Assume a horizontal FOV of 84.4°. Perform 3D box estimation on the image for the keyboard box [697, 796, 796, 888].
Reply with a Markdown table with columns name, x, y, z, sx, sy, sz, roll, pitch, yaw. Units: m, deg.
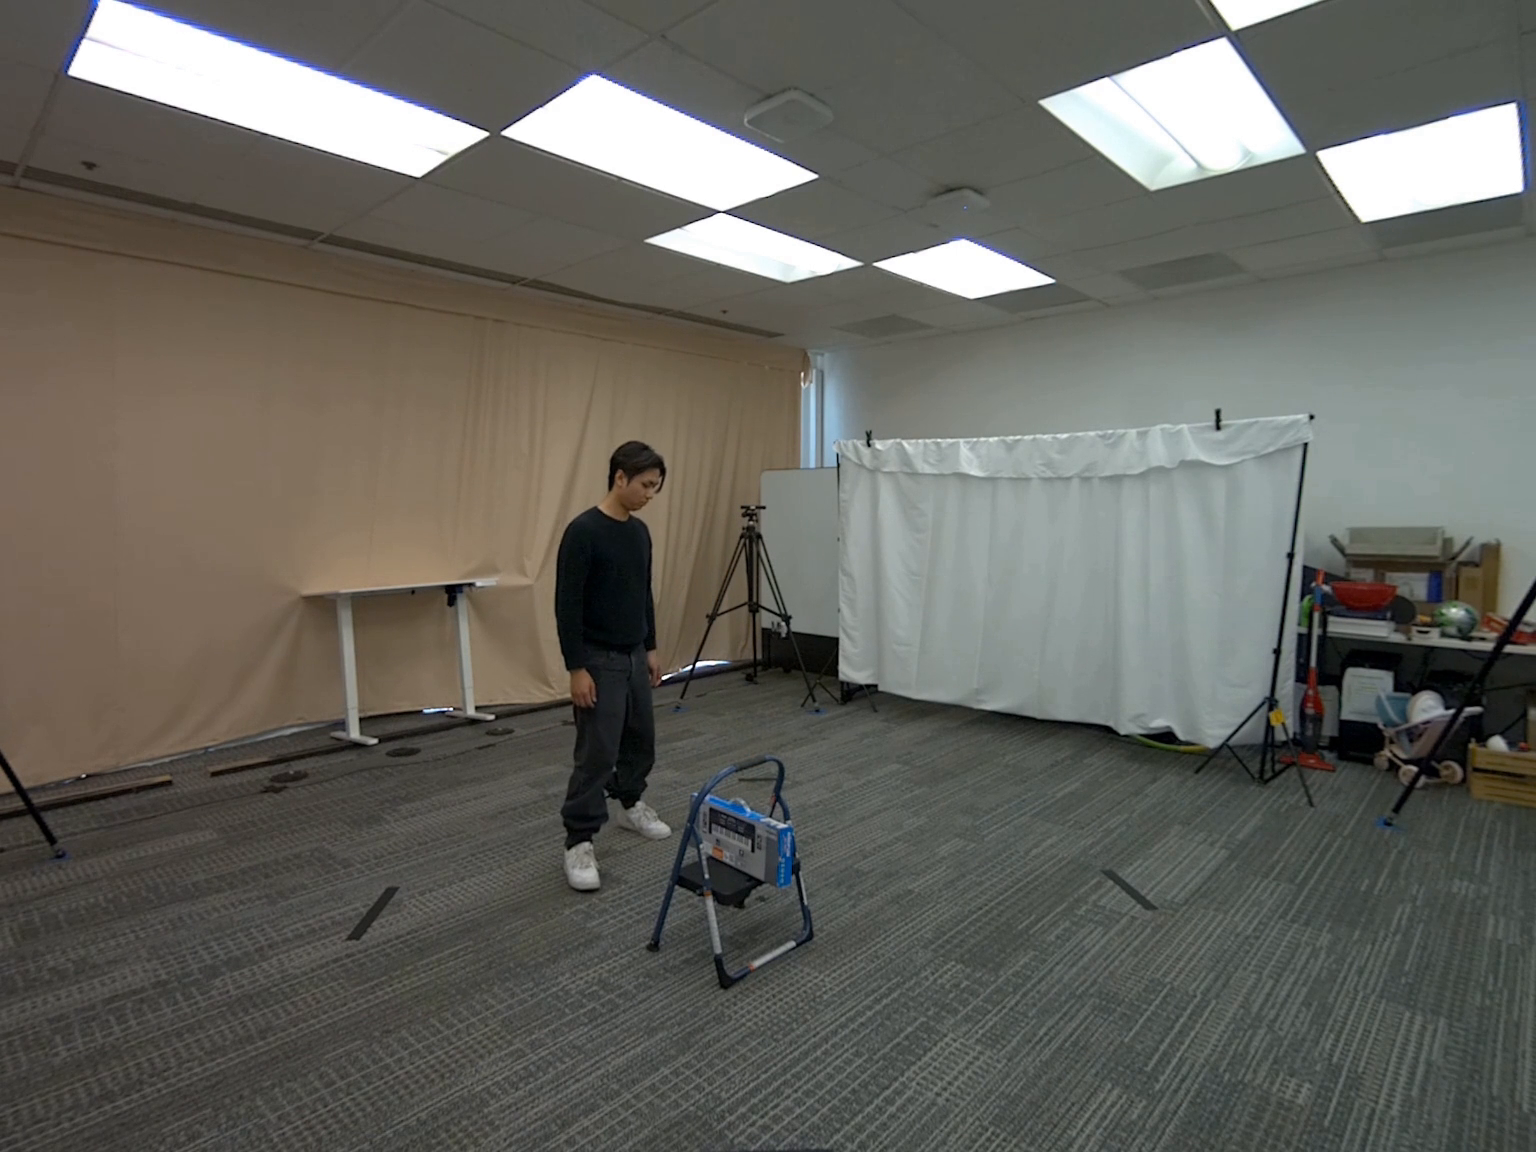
| name | x | y | z | sx | sy | sz | roll | pitch | yaw |
| --- | --- | --- | --- | --- | --- | --- | --- | --- | --- |
| keyboard box | -0.089 | 0.822 | 2.656 | 0.057 | 0.176 | 0.451 | 2 | 1 | -42 |
